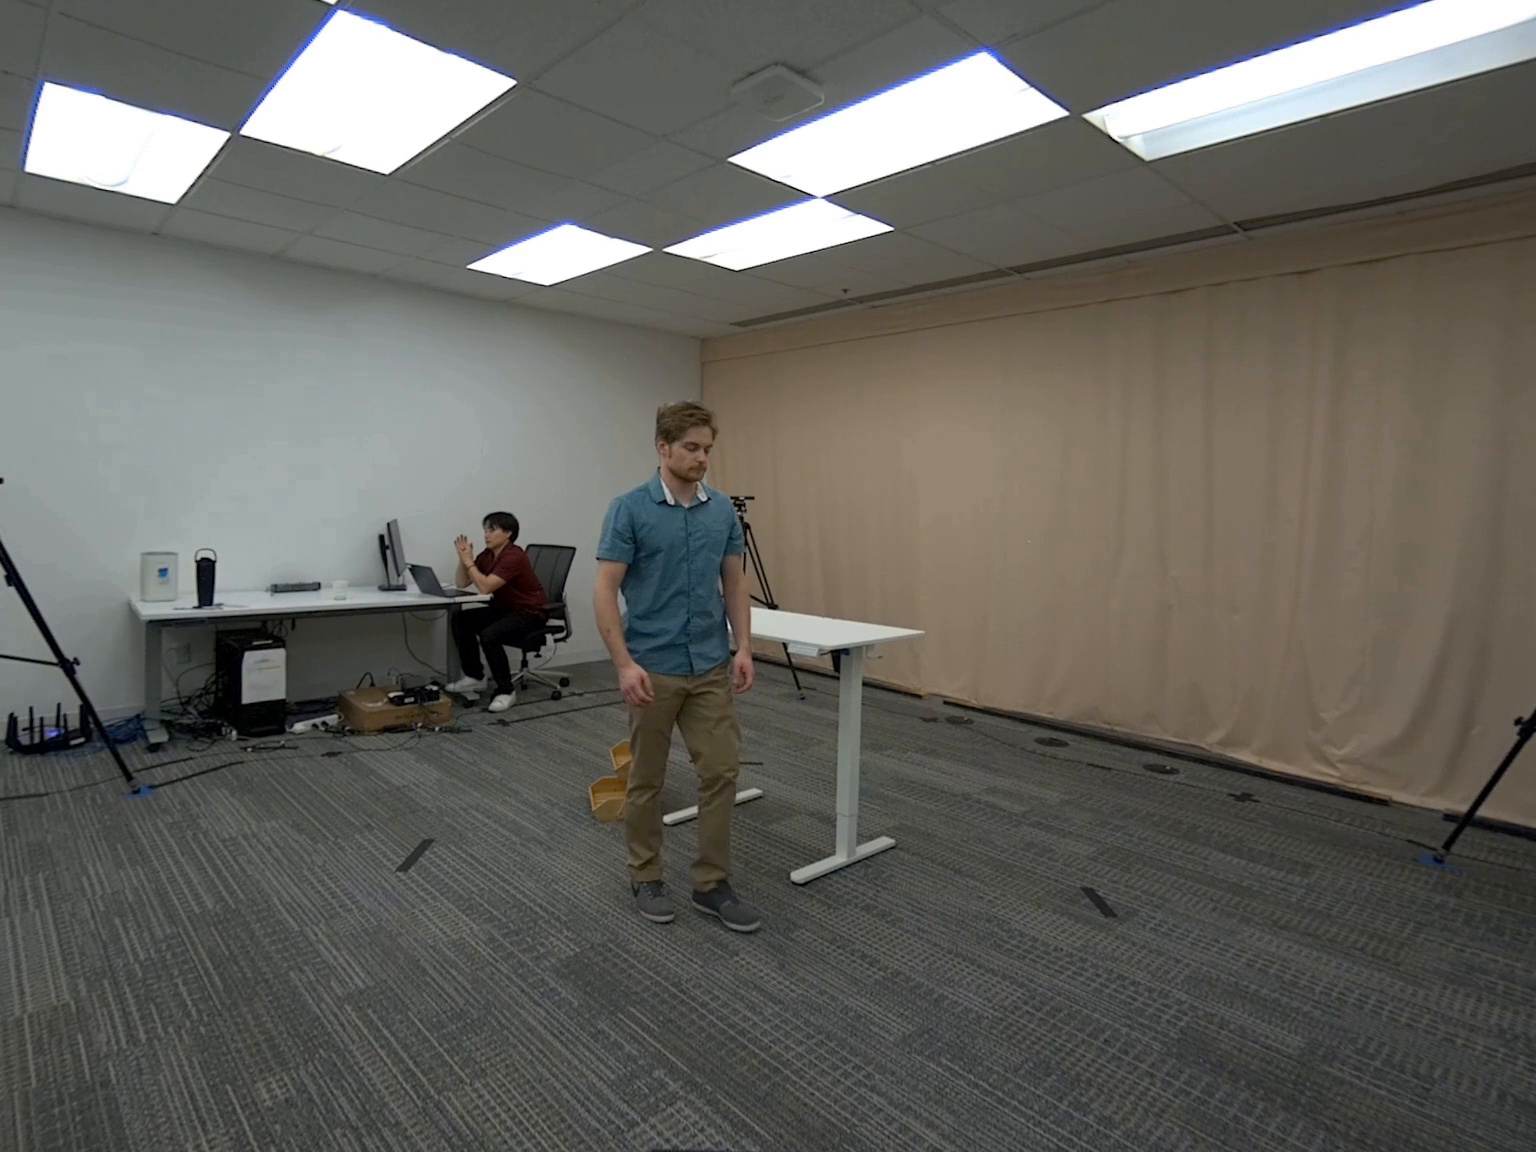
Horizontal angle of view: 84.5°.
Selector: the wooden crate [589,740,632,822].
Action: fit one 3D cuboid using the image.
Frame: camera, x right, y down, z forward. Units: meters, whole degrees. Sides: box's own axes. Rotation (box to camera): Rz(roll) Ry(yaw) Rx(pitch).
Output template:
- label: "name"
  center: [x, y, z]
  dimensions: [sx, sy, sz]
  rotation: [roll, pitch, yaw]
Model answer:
- label: "wooden crate"
  center: [-0.650, 0.898, 3.758]
  dimensions: [0.298, 0.272, 0.329]
  rotation: [1, 4, -16]
